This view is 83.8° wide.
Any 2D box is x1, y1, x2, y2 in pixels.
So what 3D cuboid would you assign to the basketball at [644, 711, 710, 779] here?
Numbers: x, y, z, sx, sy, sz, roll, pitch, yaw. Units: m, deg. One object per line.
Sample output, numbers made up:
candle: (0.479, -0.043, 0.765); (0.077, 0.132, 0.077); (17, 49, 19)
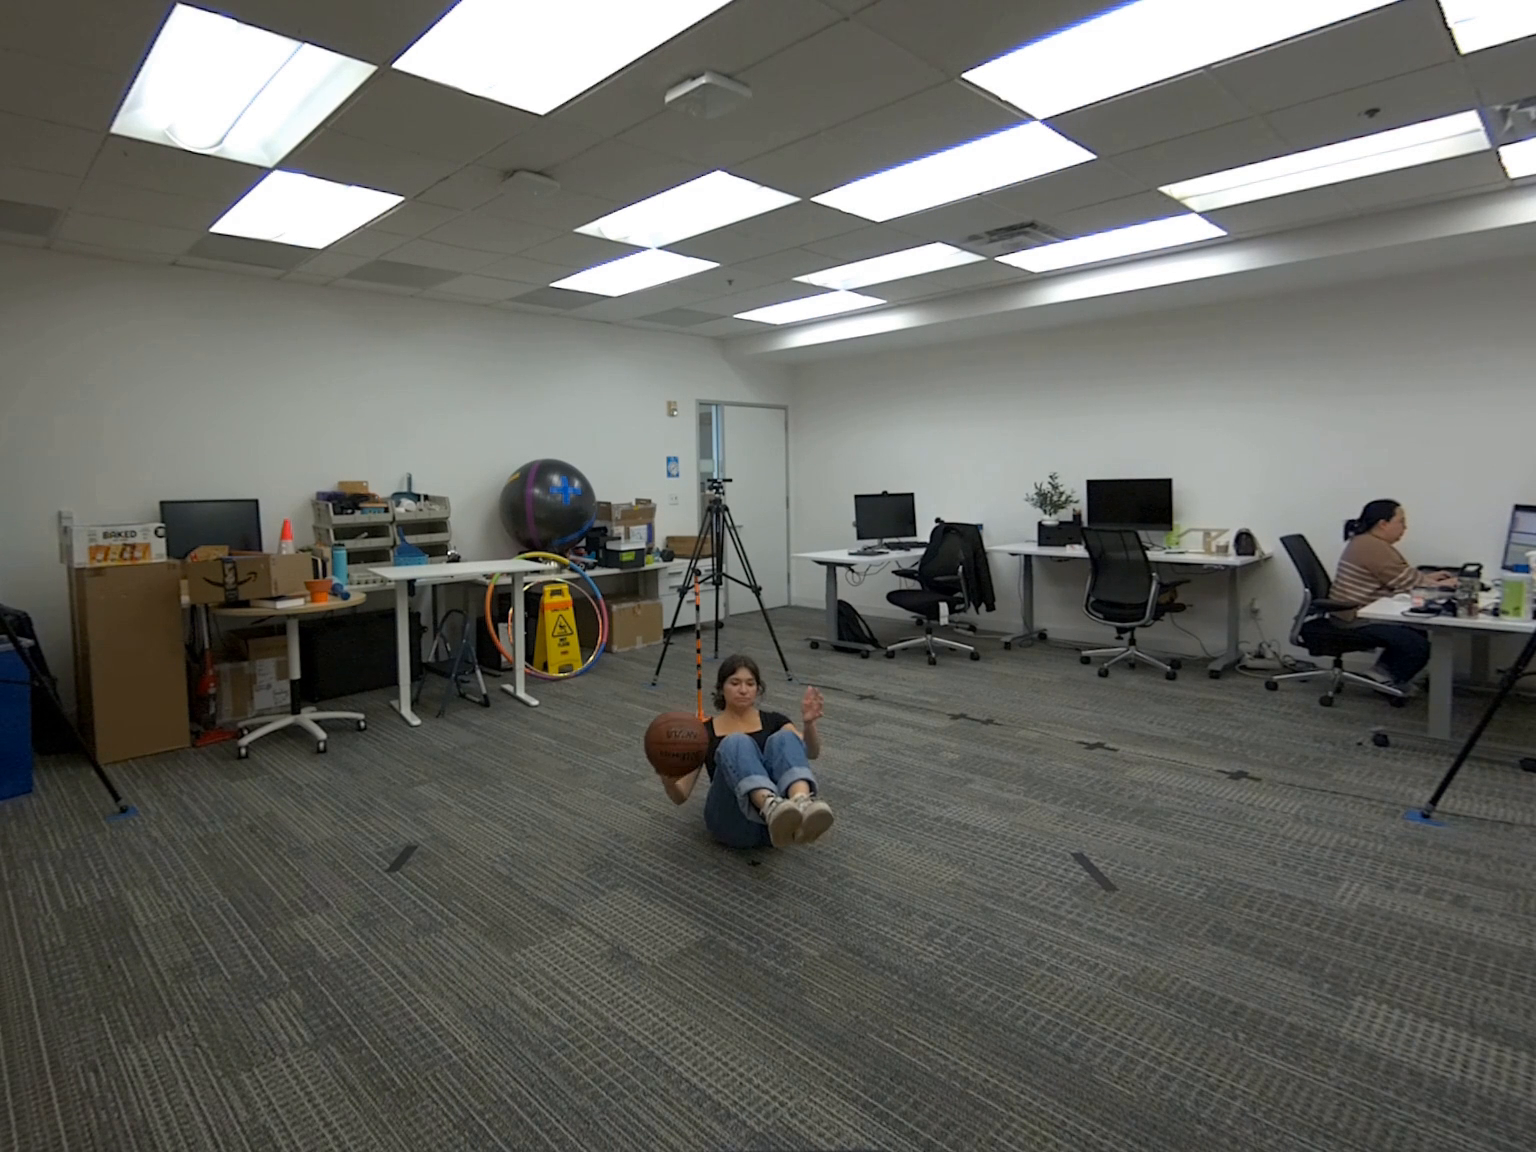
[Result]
basketball: (-0.324, 0.614, 3.151); (0.236, 0.235, 0.237); (-1, 5, -2)
